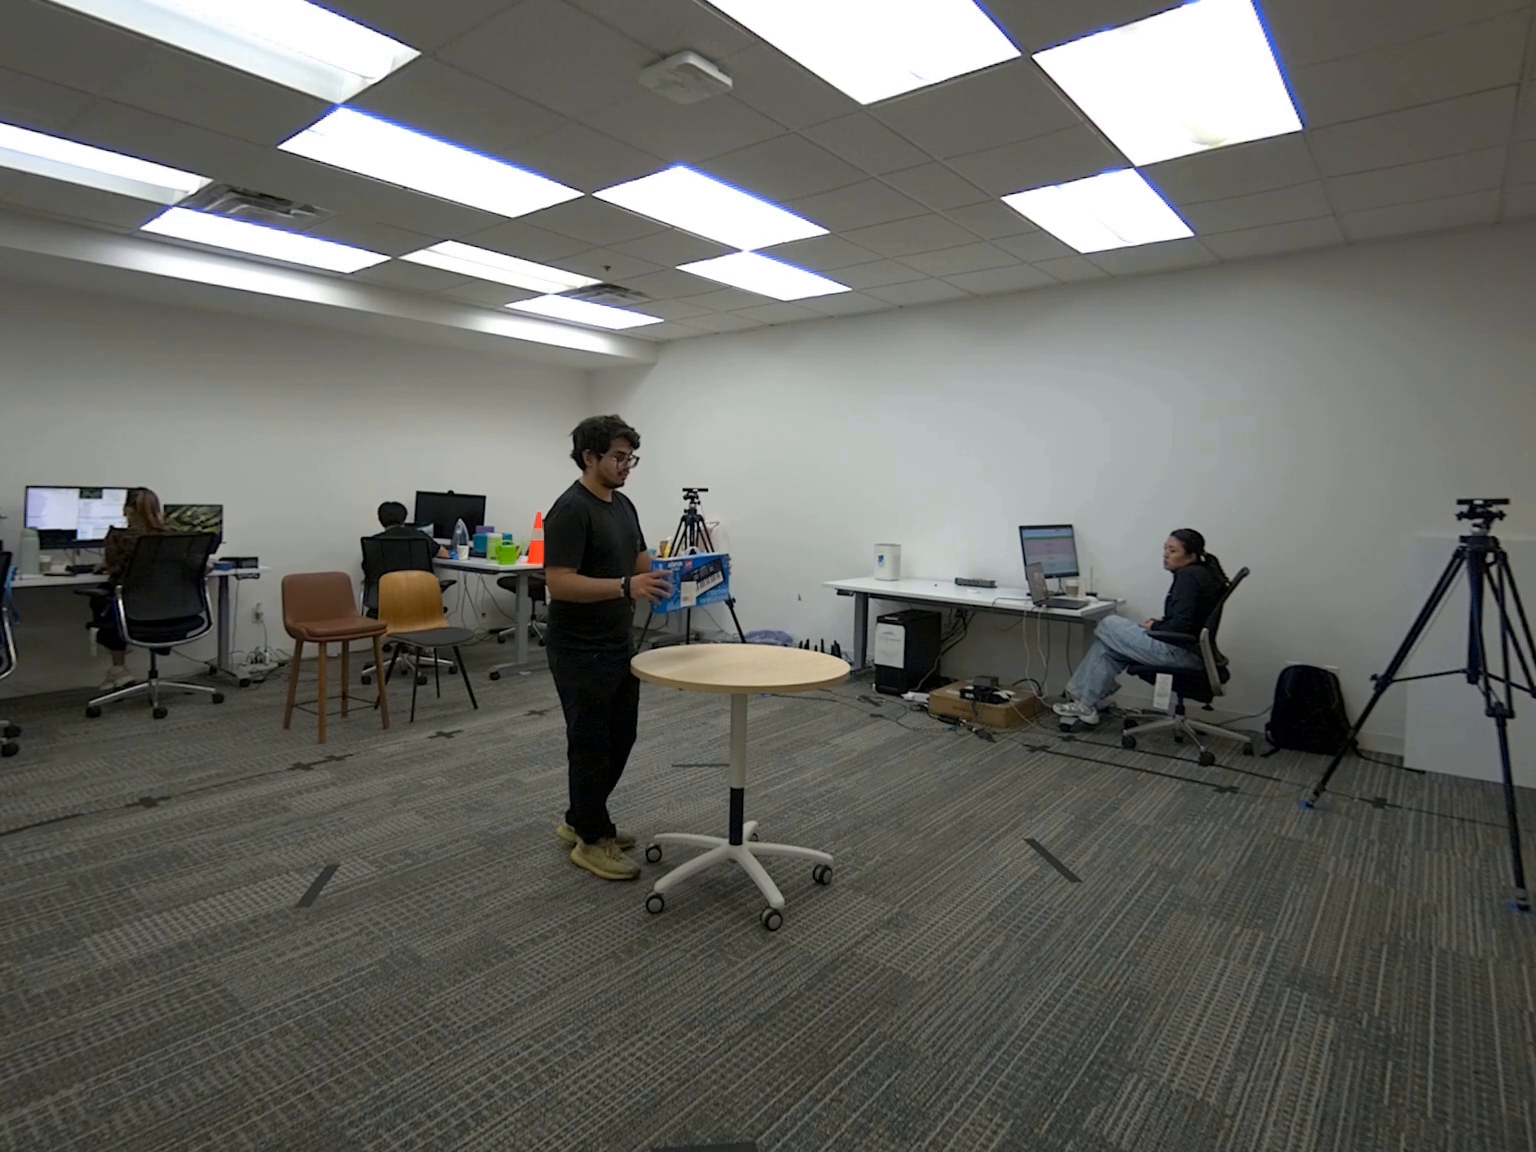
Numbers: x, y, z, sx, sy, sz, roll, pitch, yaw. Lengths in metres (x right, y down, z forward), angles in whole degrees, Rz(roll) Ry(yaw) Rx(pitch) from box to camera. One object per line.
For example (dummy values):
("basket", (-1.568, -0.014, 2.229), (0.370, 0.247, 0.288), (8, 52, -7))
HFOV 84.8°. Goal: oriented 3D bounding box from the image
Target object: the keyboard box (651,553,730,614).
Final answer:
("keyboard box", (-0.273, 0.020, 2.933), (0.061, 0.175, 0.427), (1, 5, 26))
